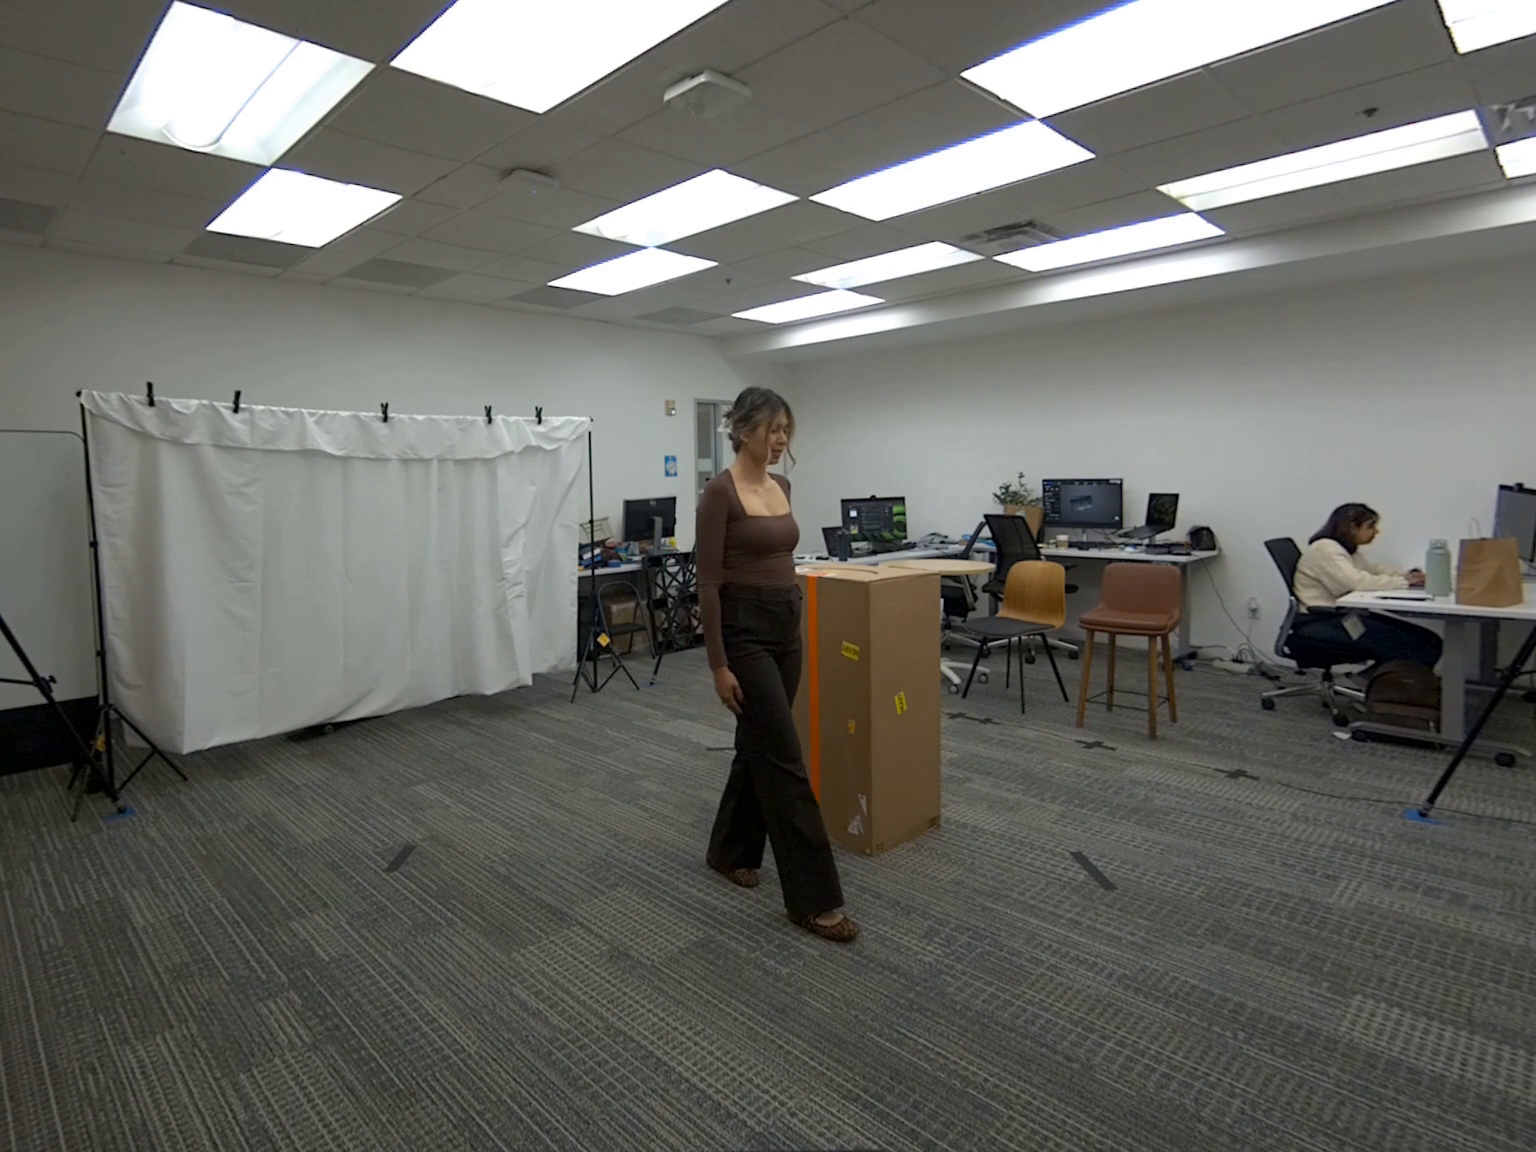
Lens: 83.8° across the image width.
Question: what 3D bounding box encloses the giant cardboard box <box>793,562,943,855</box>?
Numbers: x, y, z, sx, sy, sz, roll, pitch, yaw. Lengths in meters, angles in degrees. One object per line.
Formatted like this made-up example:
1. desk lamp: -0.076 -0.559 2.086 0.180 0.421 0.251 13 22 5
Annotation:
1. giant cardboard box: 0.338 0.483 3.459 0.435 1.022 0.602 -5 6 -39
